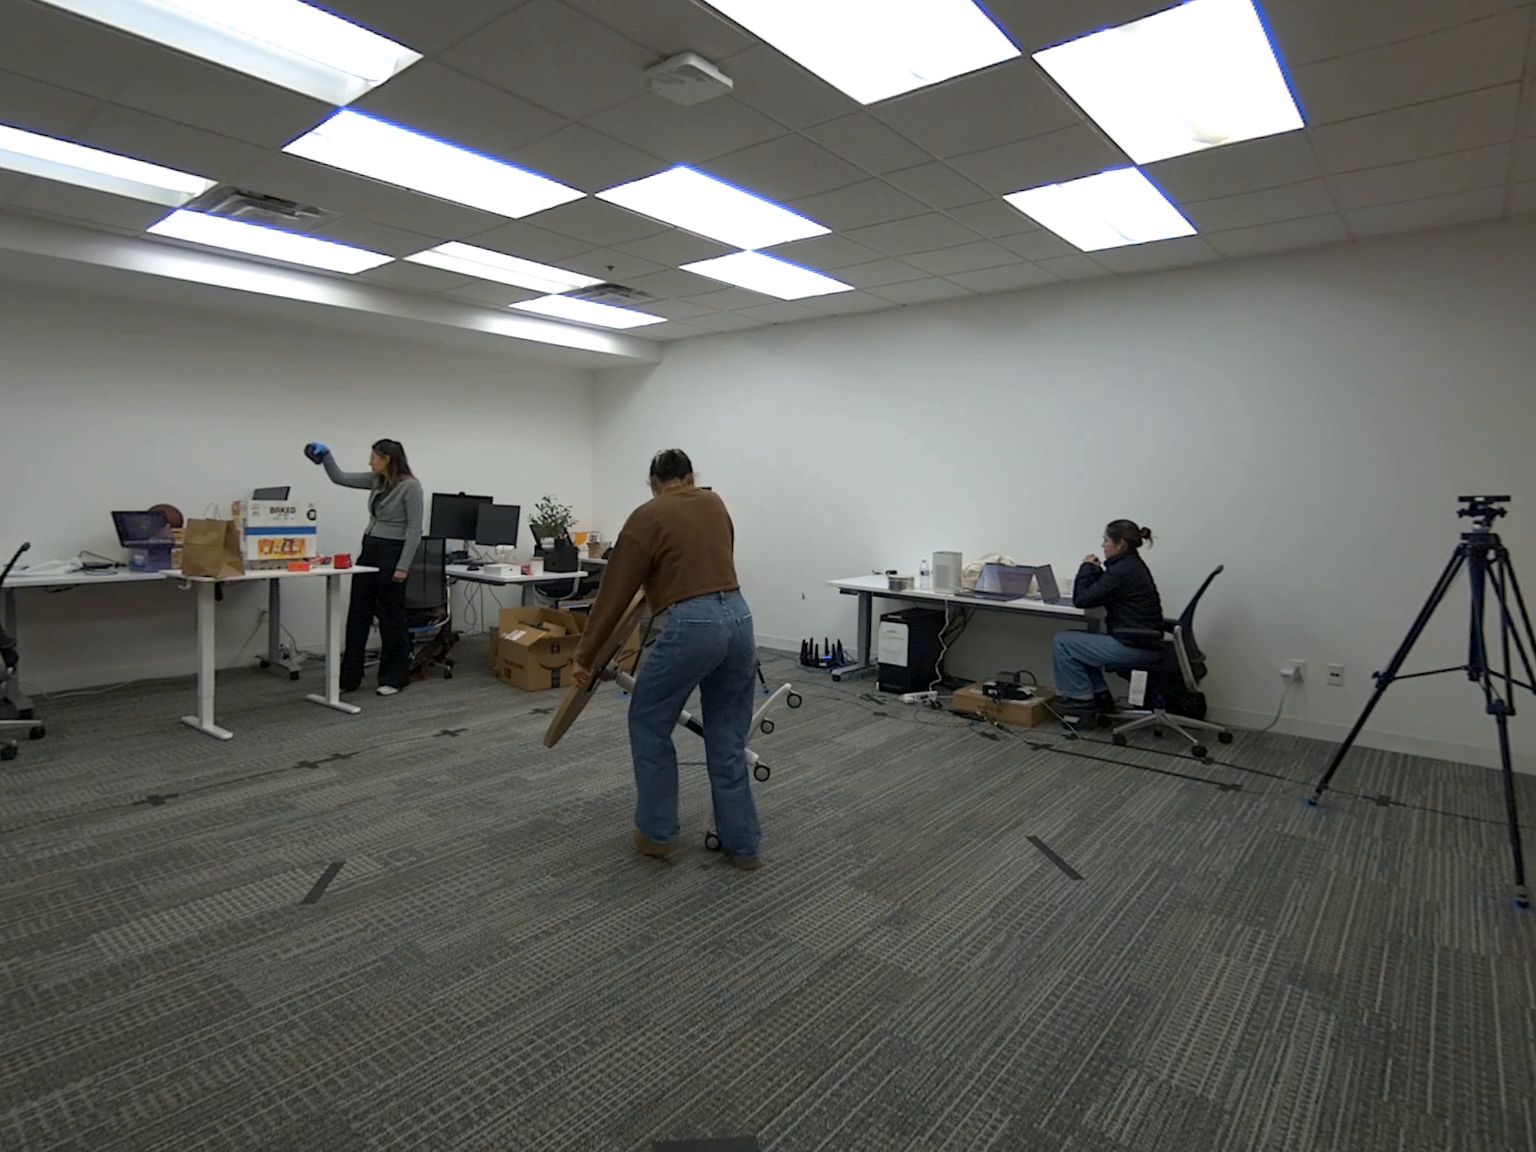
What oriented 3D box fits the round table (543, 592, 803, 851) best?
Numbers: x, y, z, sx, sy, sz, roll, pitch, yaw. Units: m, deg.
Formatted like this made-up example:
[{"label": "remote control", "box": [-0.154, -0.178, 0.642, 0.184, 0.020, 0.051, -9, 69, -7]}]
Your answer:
[{"label": "round table", "box": [-0.376, 0.568, 3.482, 0.797, 0.763, 0.763, 32, 5, 1]}]
